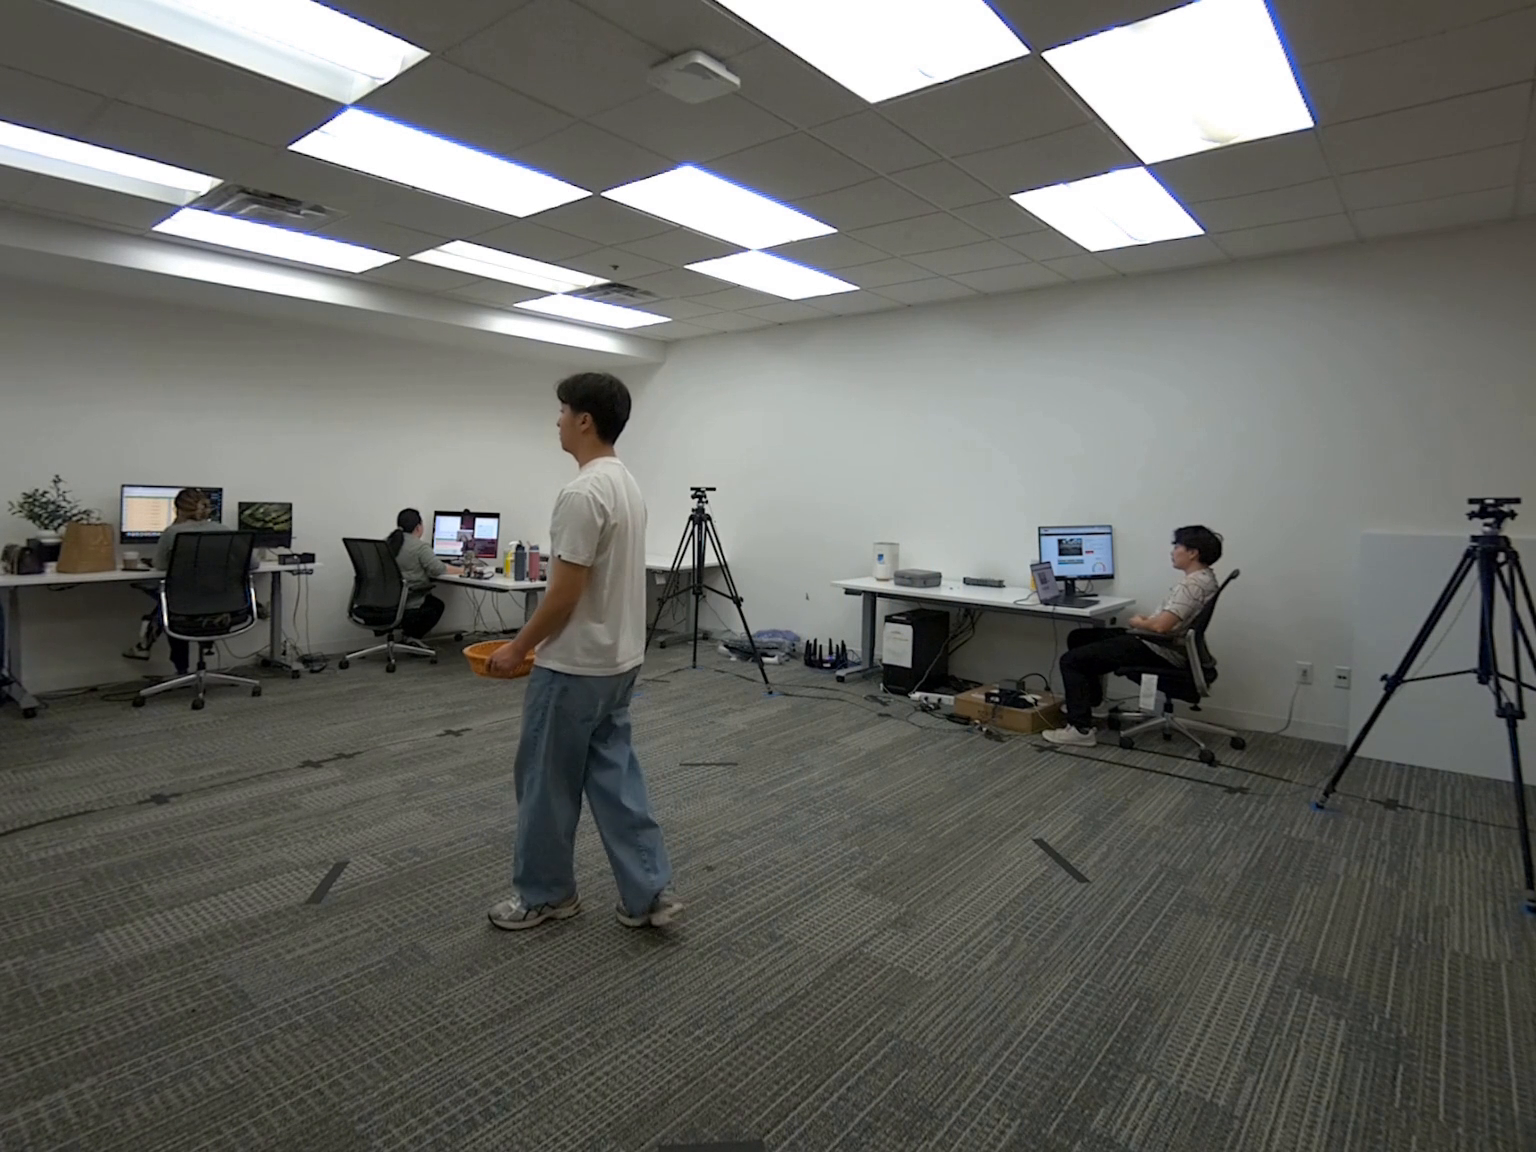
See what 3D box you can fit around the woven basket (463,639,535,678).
[{"bbox_3d":[-0.828,0.263,2.769,0.260,0.073,0.342,3,6,28],"label":"woven basket"}]
